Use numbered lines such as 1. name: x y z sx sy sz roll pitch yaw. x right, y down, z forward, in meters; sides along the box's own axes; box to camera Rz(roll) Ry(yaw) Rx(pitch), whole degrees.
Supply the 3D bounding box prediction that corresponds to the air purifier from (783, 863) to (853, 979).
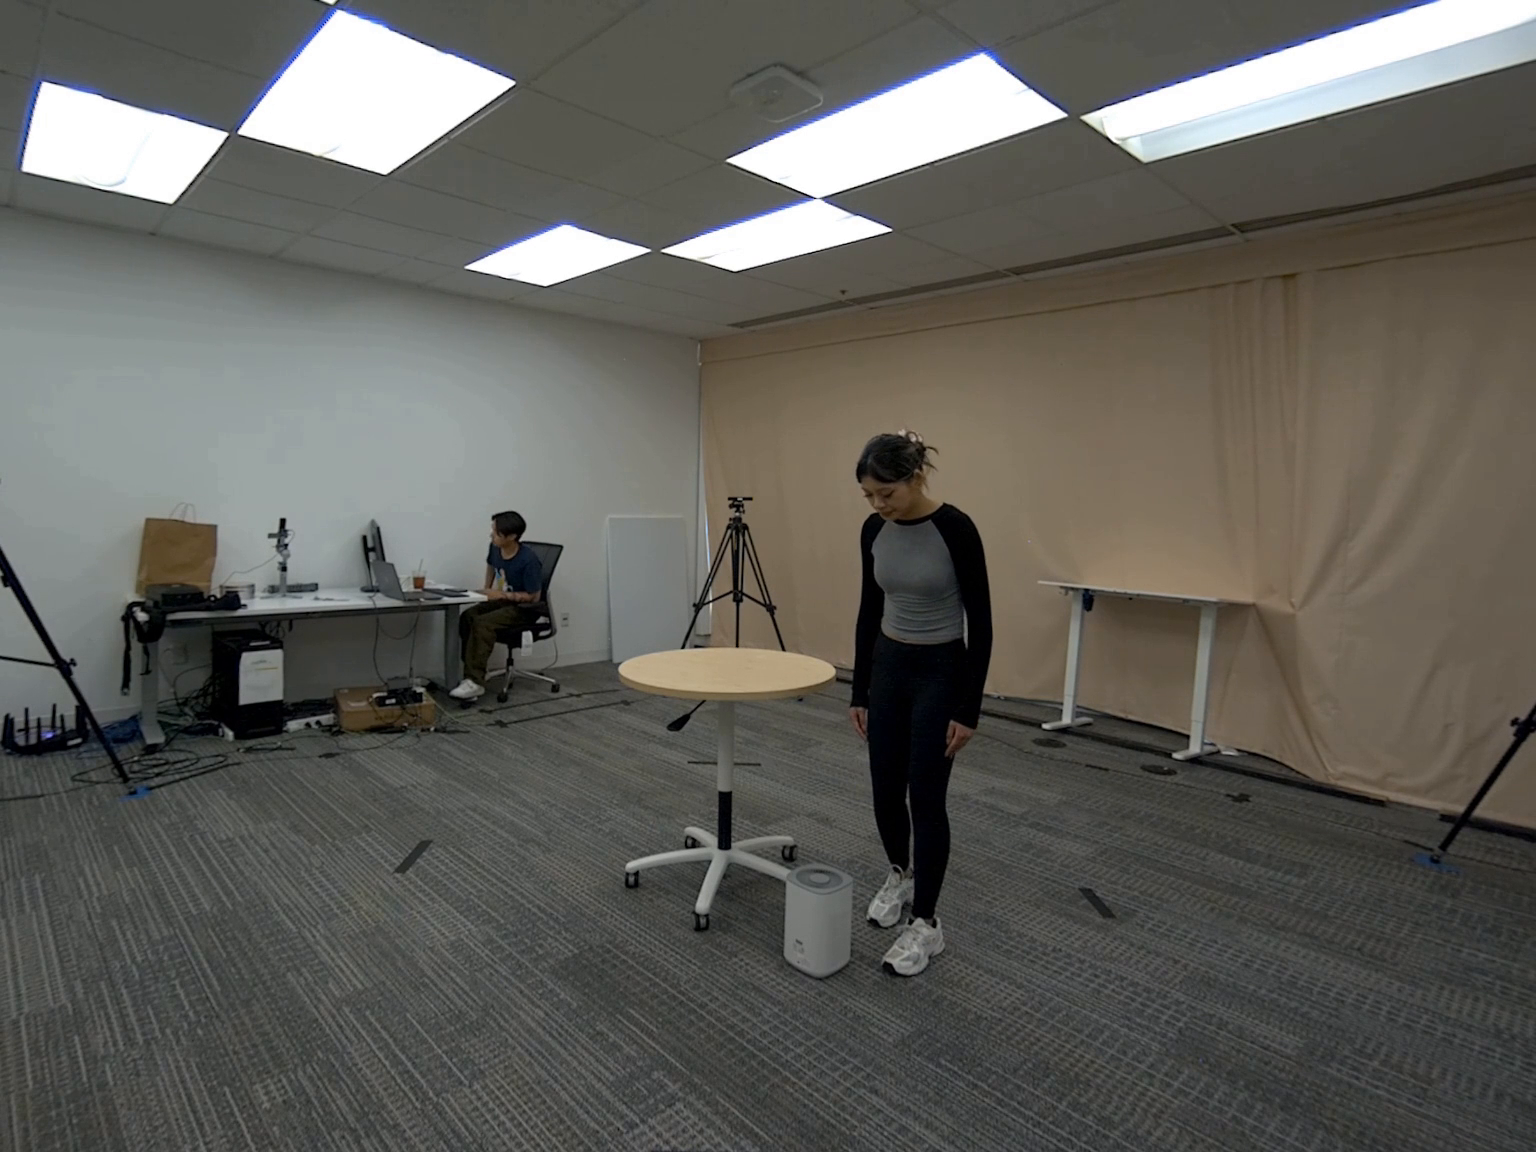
1. air purifier: 0.145 1.039 2.521 0.175 0.265 0.168 4 5 41
